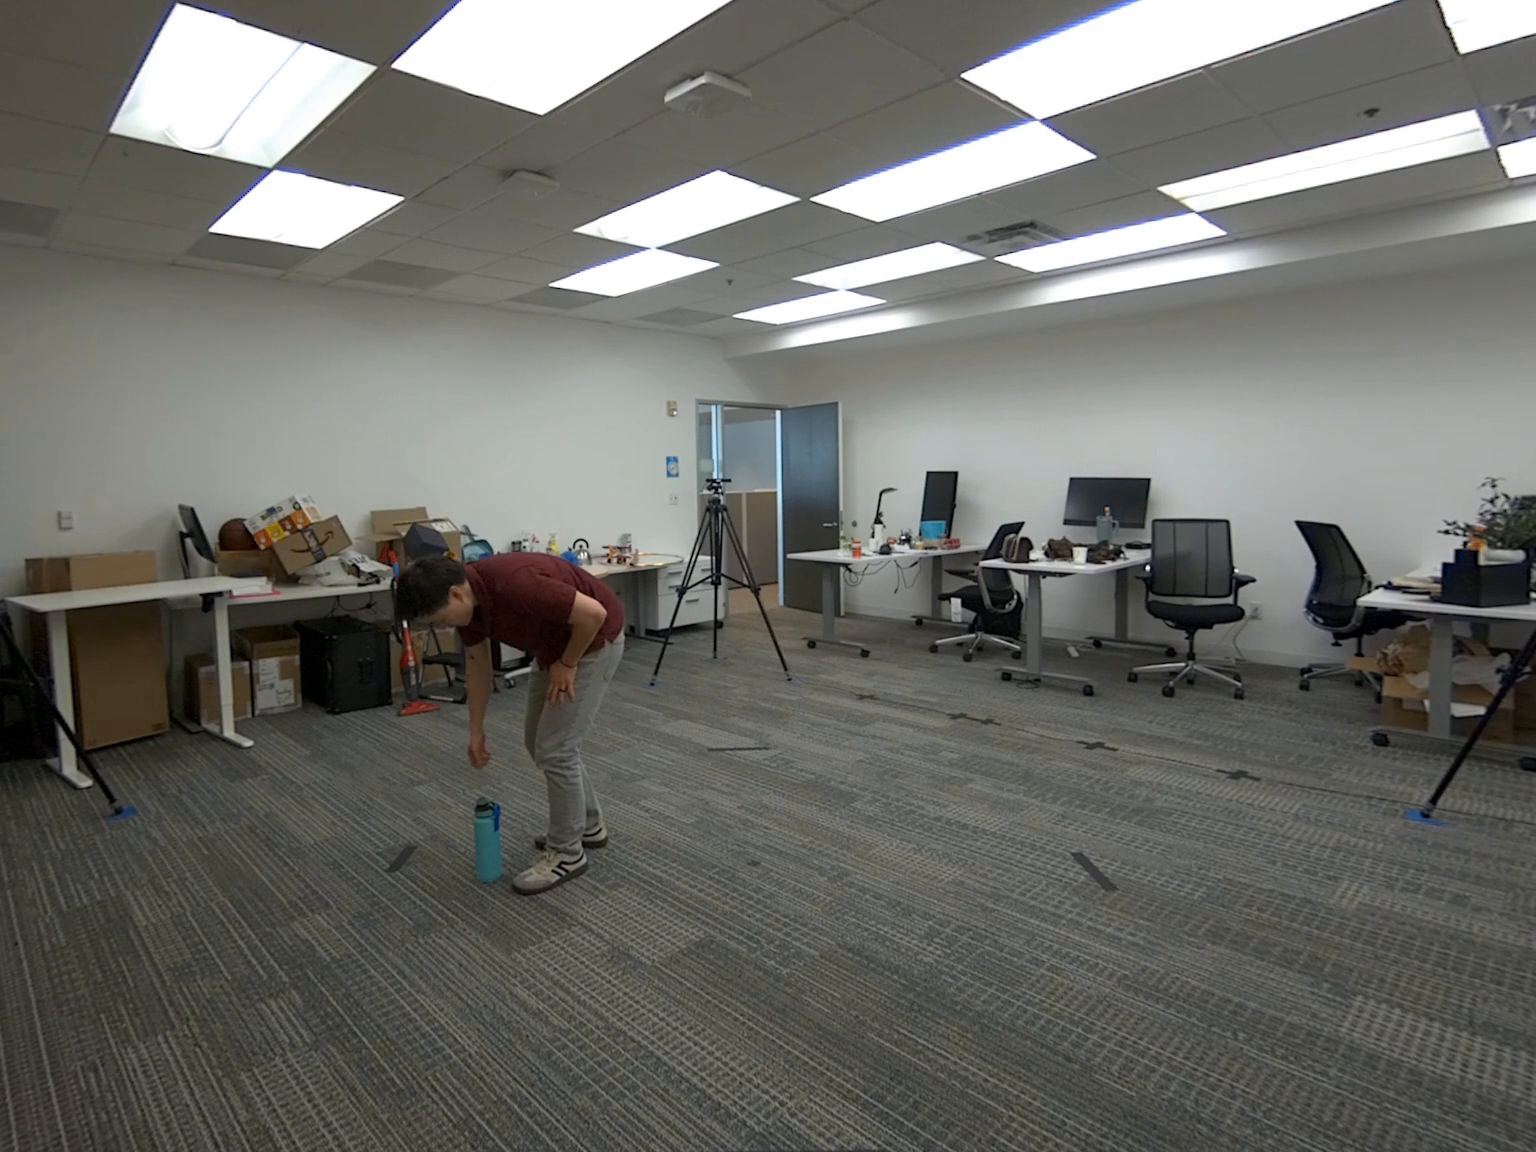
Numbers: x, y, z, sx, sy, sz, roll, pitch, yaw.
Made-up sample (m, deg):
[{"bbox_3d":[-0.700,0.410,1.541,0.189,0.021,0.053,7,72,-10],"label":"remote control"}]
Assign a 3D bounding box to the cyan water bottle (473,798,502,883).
[{"bbox_3d":[-0.991,0.933,3.034,0.092,0.282,0.093,0,4,-2],"label":"cyan water bottle"}]
